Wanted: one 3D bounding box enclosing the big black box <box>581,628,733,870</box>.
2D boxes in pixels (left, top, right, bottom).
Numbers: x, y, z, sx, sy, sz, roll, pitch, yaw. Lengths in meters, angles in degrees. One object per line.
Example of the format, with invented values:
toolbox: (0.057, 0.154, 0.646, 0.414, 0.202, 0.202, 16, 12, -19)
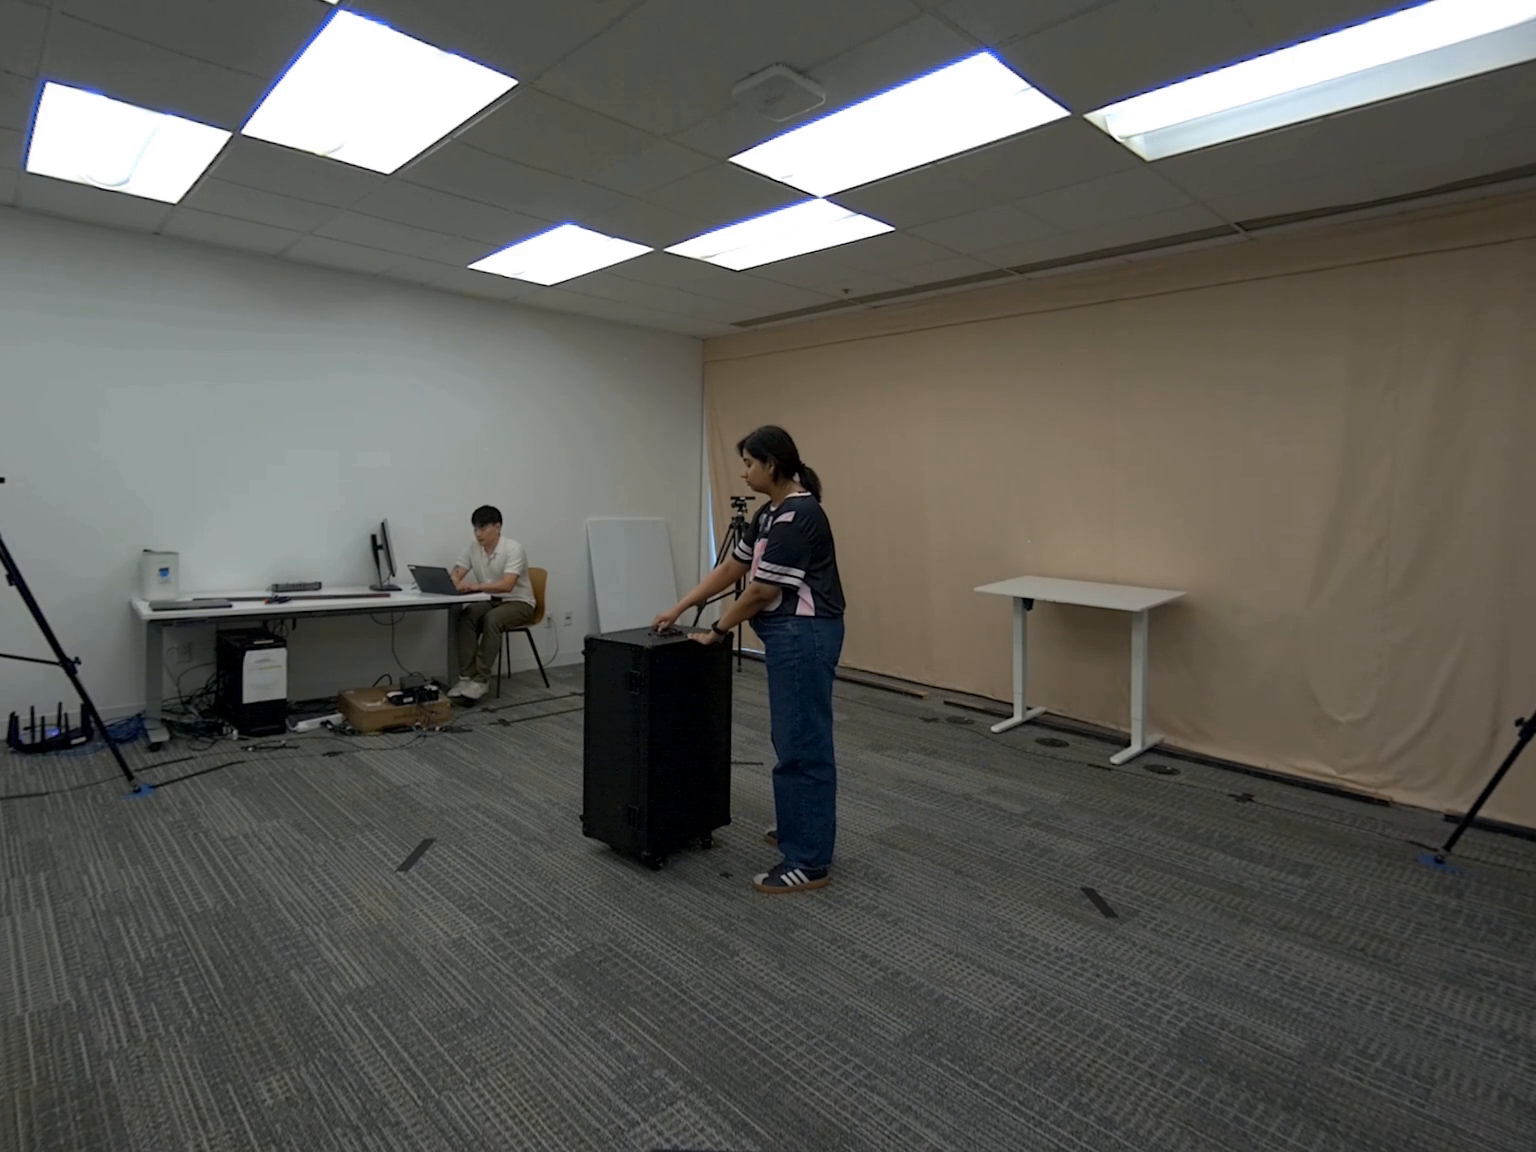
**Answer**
big black box: (-0.441, 0.654, 3.322, 0.394, 0.867, 0.512, 3, 3, 37)
